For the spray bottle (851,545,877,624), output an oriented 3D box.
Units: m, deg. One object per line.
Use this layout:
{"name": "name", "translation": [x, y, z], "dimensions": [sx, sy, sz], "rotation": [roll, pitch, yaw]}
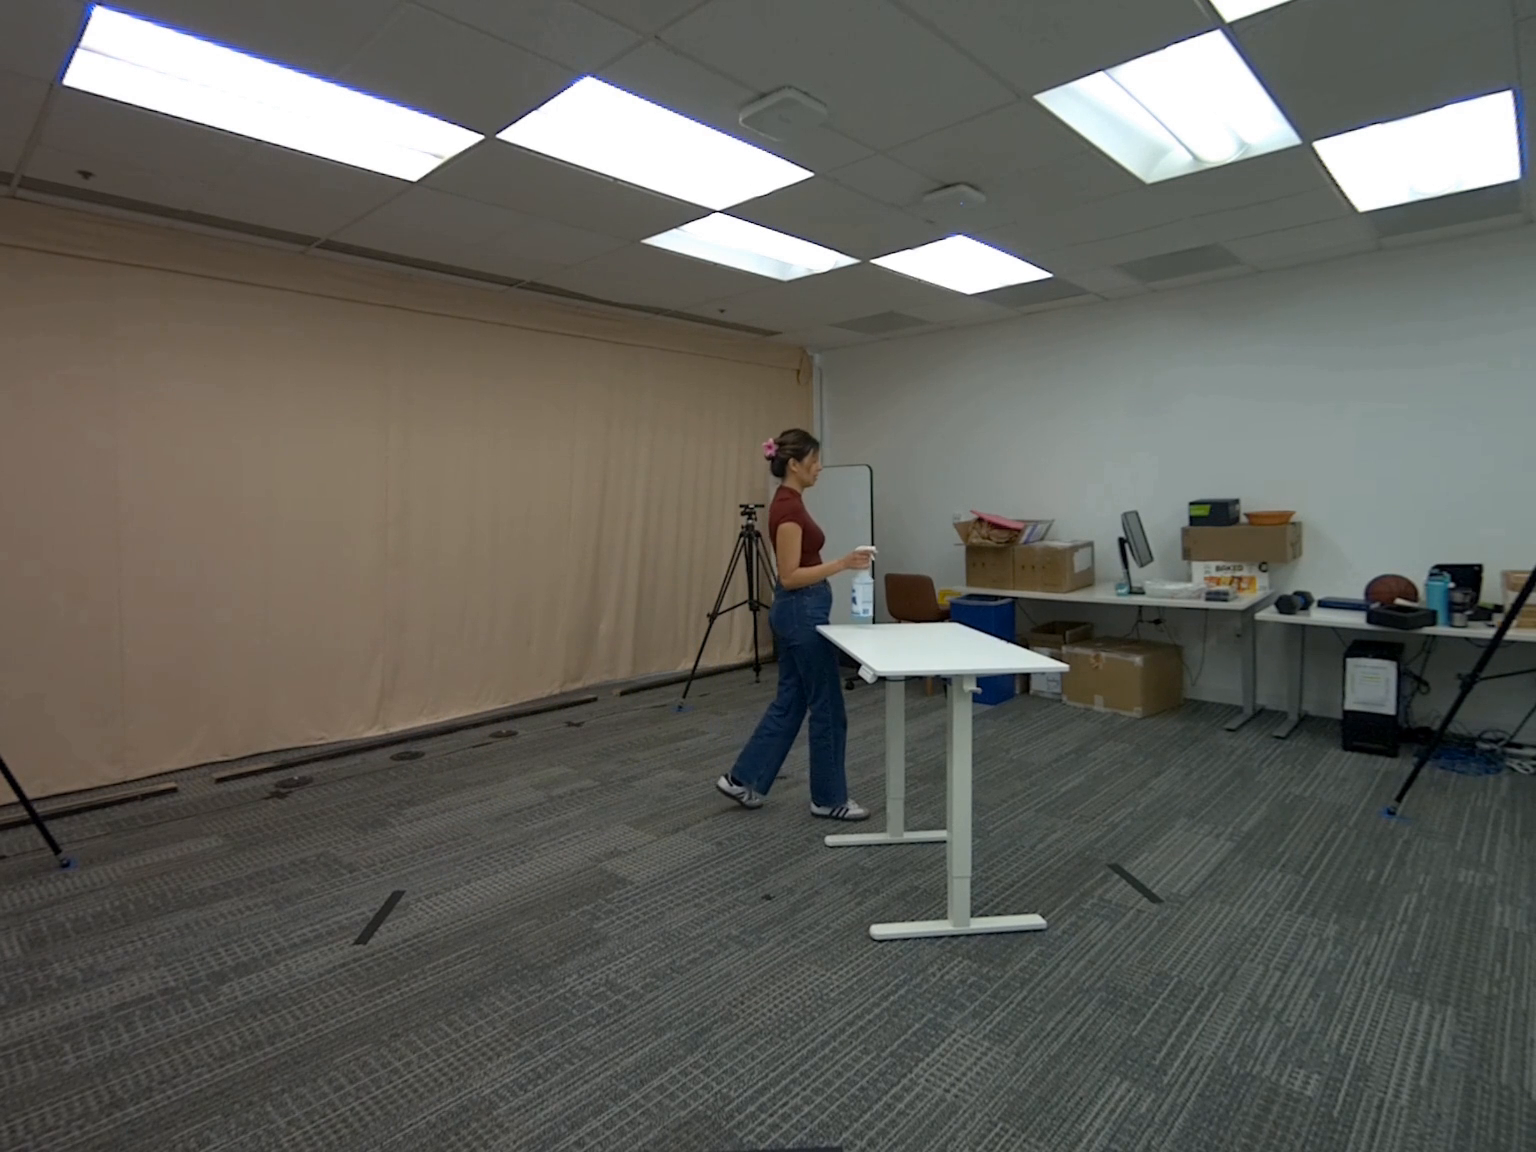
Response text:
{"name": "spray bottle", "translation": [0.386, 0.031, 3.440], "dimensions": [0.084, 0.296, 0.093], "rotation": [-5, 11, -40]}
